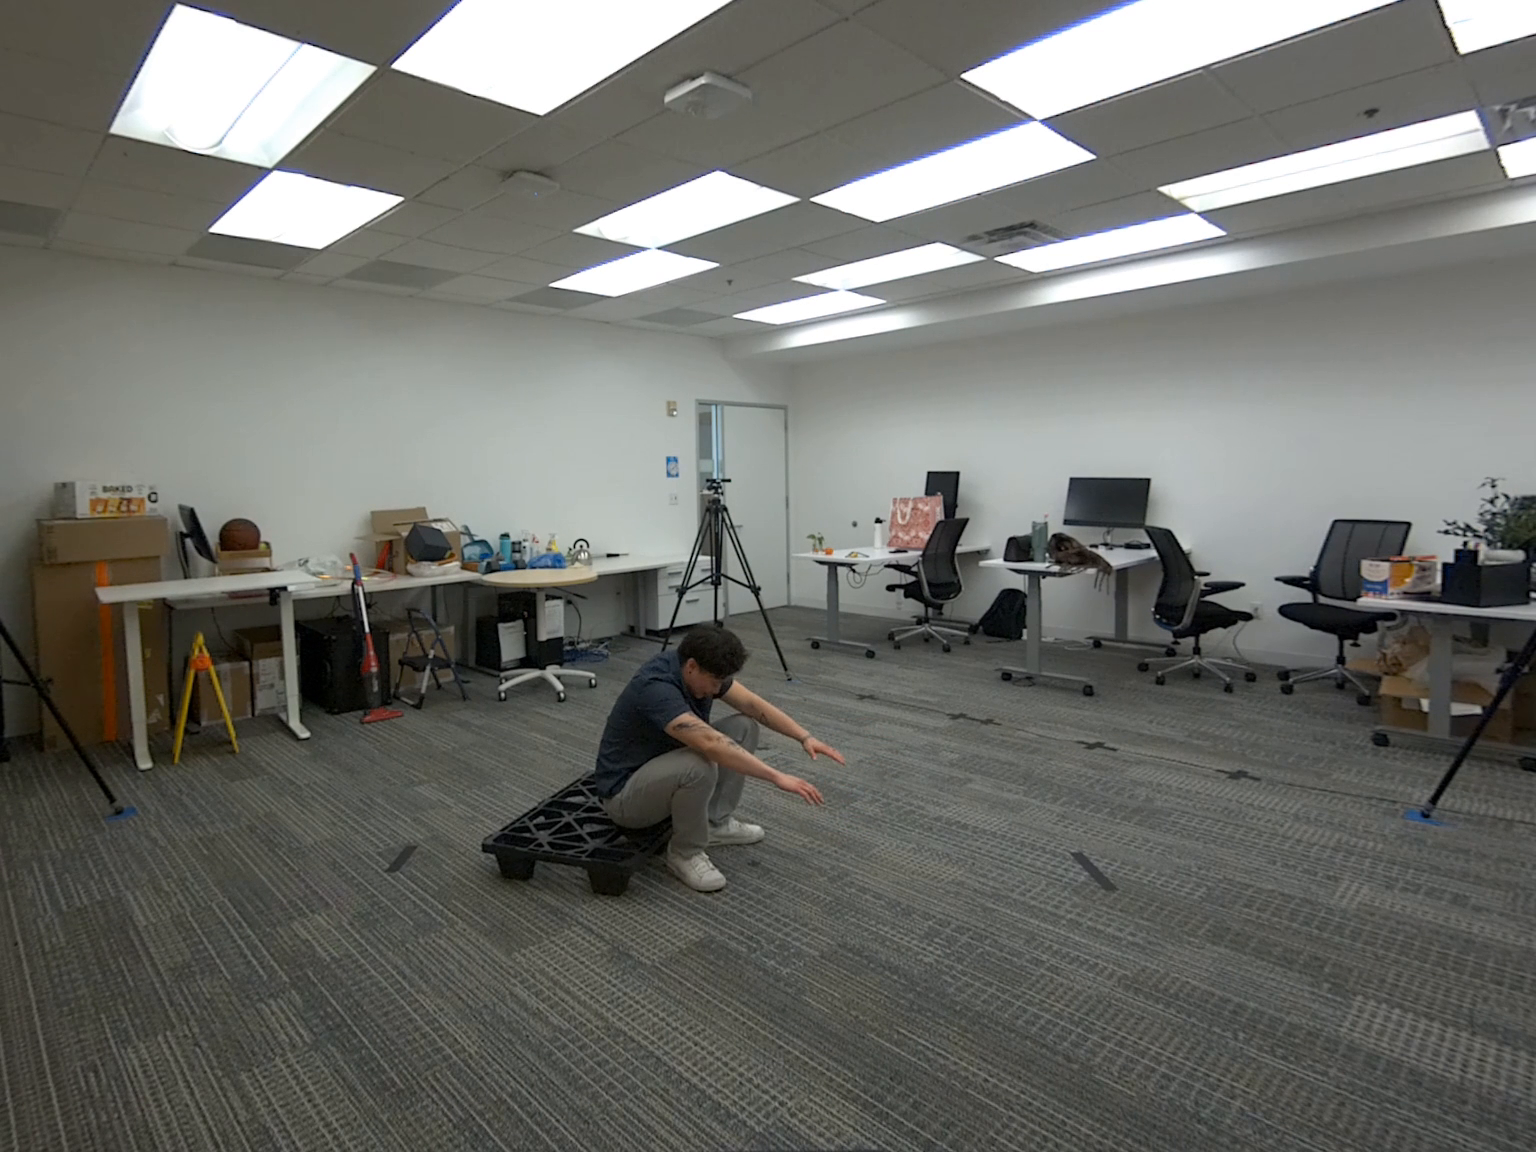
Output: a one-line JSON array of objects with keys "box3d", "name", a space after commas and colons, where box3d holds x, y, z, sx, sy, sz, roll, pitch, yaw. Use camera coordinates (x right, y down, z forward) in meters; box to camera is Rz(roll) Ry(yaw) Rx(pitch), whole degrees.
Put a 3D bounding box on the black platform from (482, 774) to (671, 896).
[{"box3d": [-0.610, 0.967, 3.292, 0.616, 0.142, 0.794, 1, 7, 18], "name": "black platform"}]
